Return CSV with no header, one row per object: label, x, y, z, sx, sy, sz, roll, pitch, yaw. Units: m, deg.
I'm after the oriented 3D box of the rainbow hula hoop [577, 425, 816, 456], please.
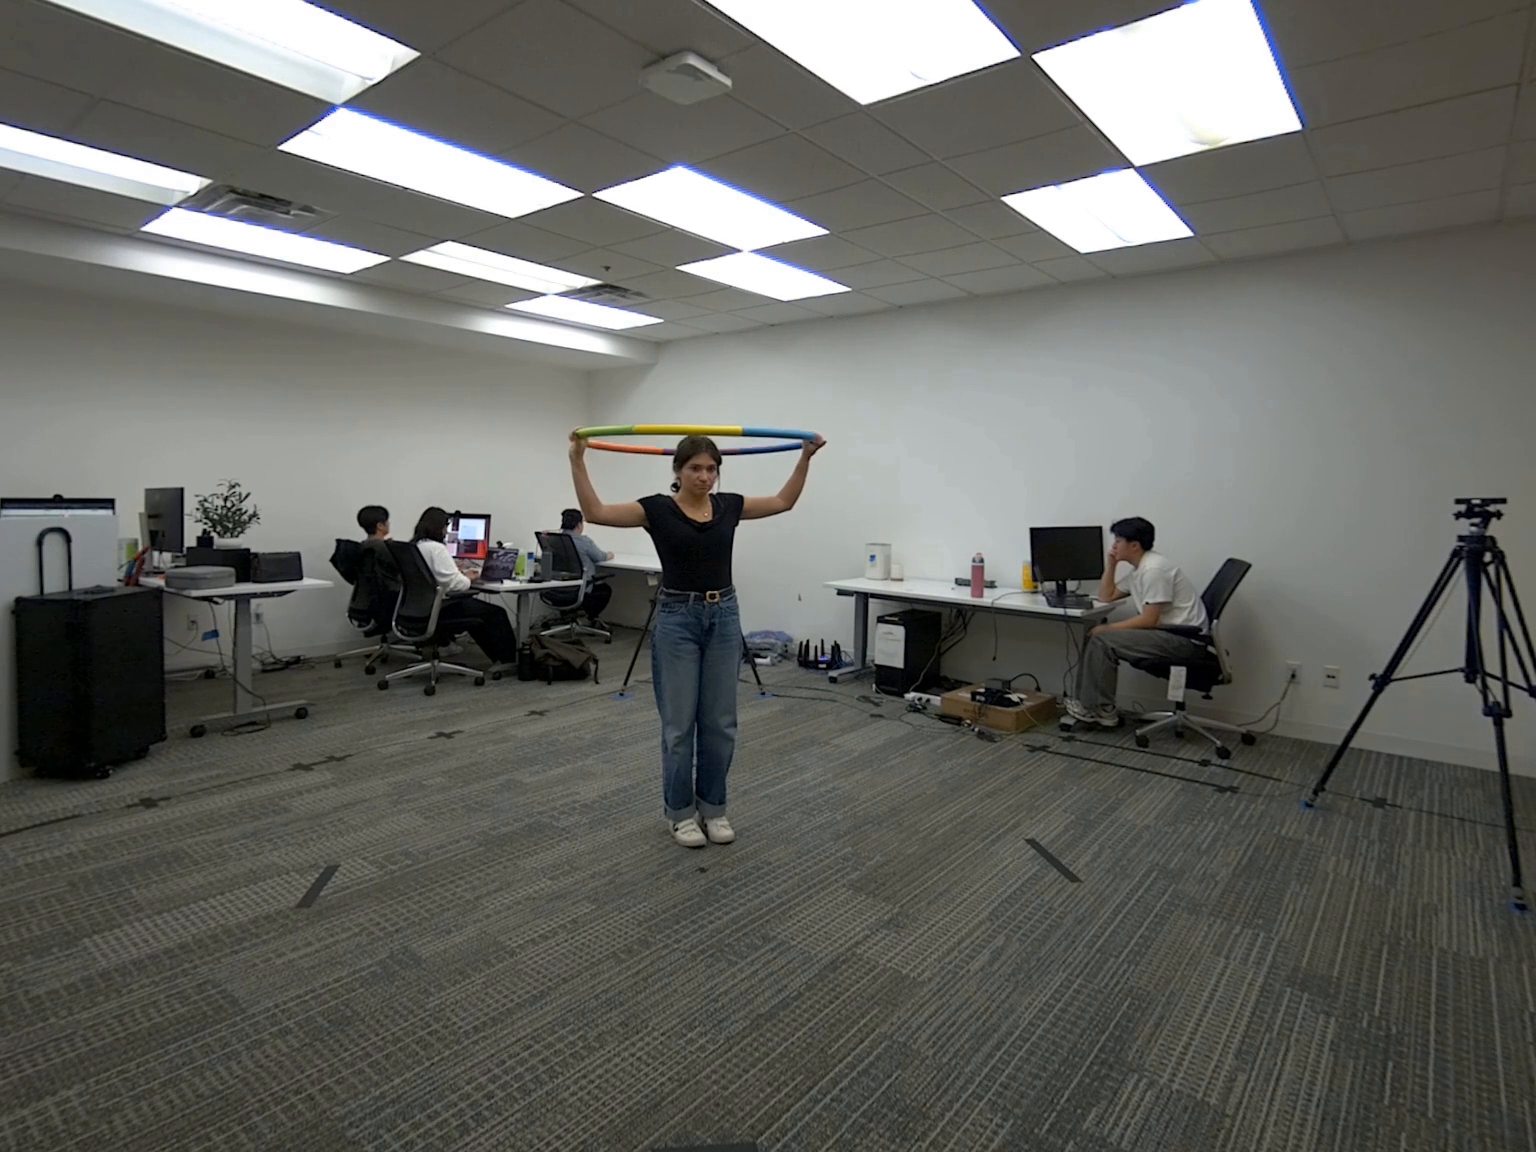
rainbow hula hoop,-0.279,-0.534,3.349,0.978,0.035,0.981,0,3,-2
